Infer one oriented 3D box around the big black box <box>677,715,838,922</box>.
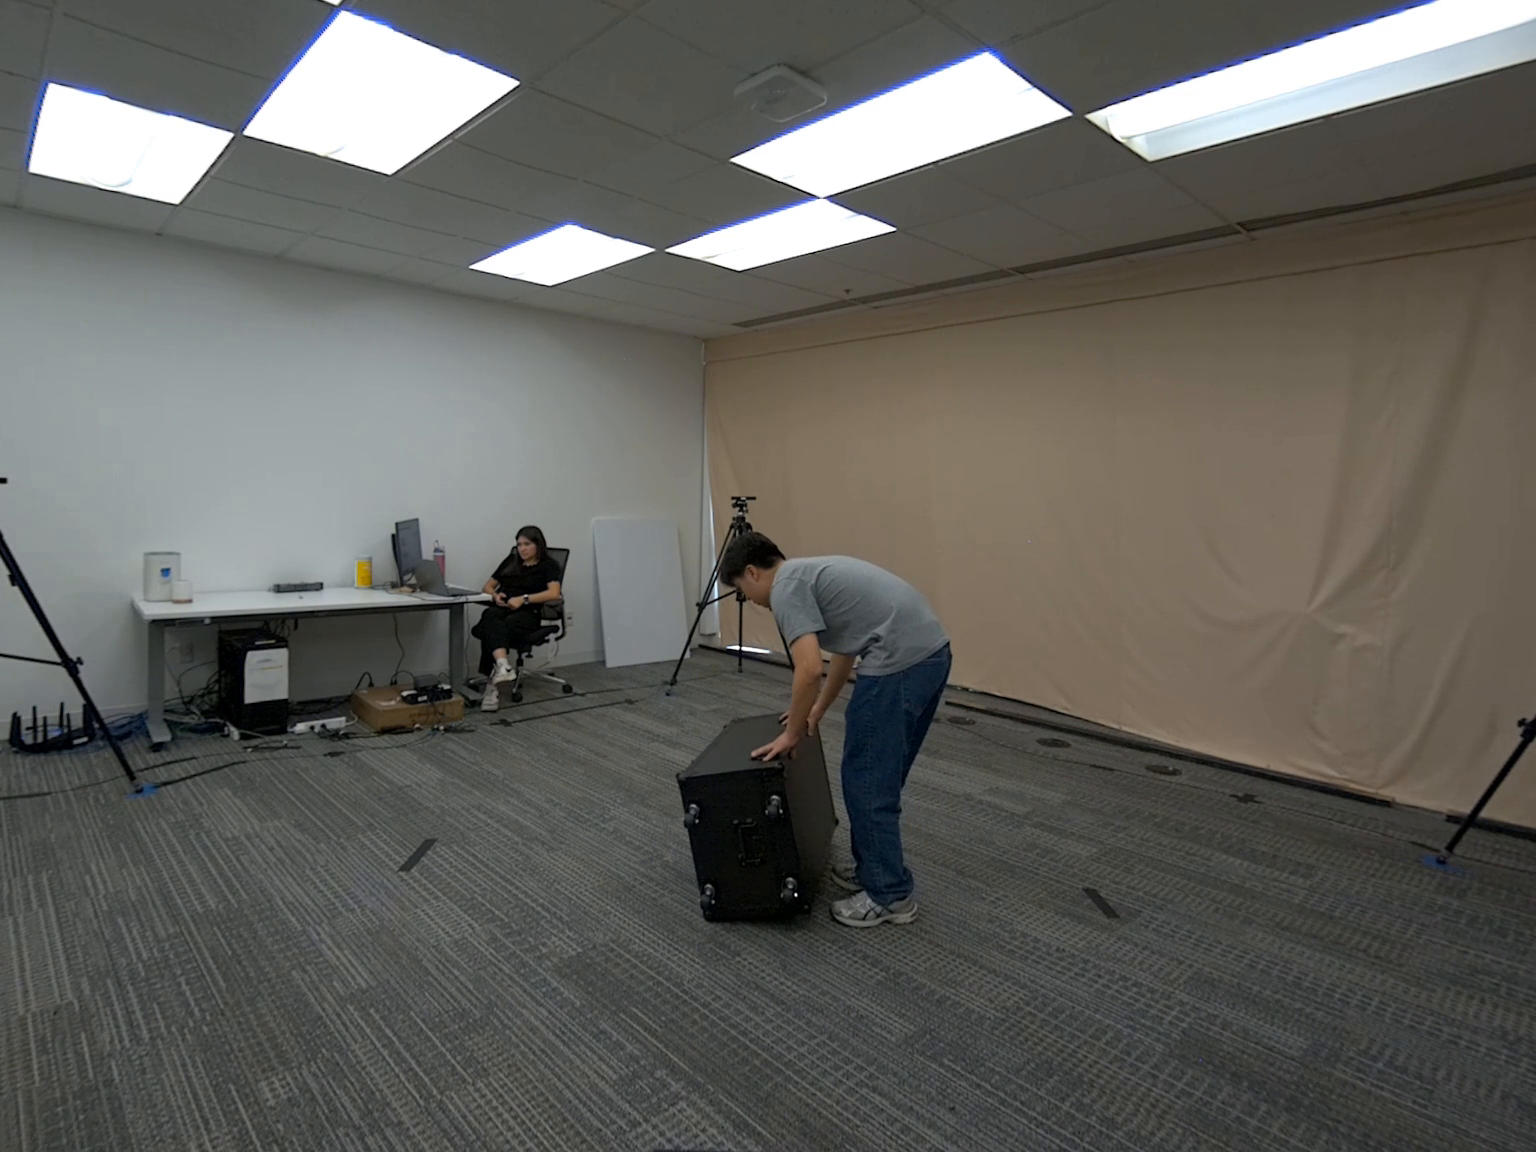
[{"bbox_3d":[-0.026,0.834,3.063,0.399,0.521,0.855,-12,2,12],"label":"big black box"}]
